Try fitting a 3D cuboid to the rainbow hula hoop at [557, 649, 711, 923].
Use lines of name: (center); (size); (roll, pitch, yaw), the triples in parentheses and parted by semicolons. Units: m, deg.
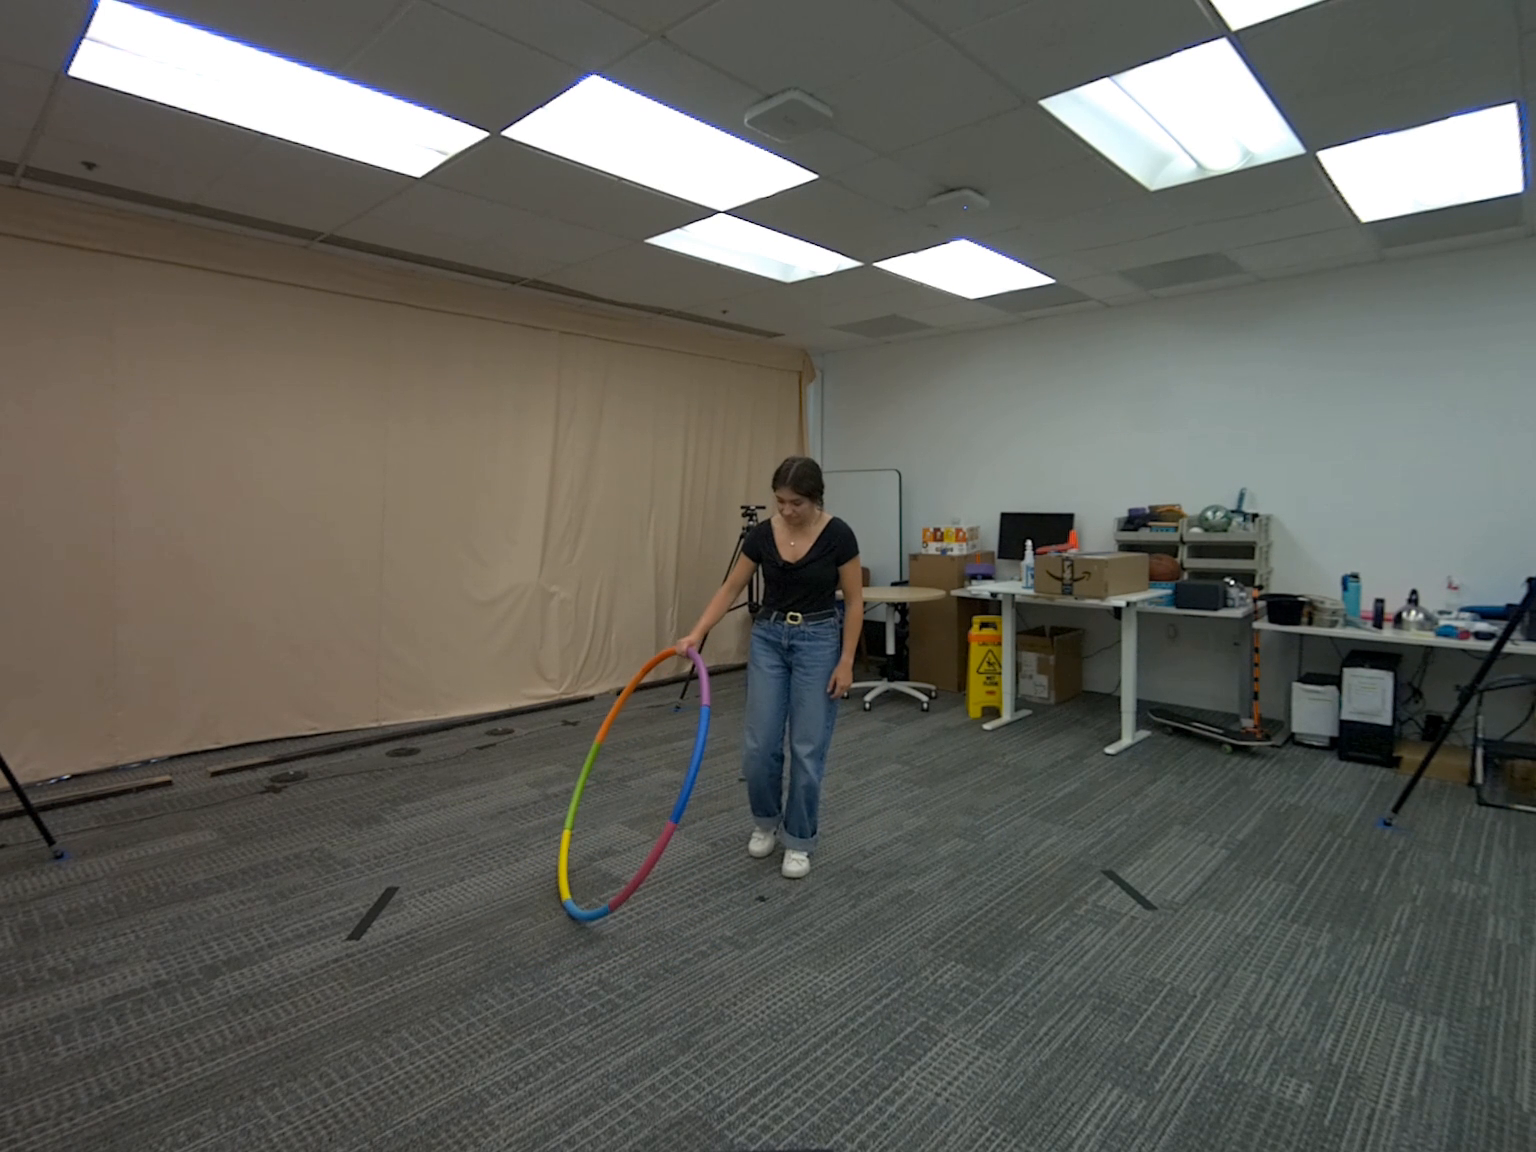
rainbow hula hoop: (-0.487, 0.710, 2.992); (0.034, 0.979, 1.004); (30, -9, -24)
